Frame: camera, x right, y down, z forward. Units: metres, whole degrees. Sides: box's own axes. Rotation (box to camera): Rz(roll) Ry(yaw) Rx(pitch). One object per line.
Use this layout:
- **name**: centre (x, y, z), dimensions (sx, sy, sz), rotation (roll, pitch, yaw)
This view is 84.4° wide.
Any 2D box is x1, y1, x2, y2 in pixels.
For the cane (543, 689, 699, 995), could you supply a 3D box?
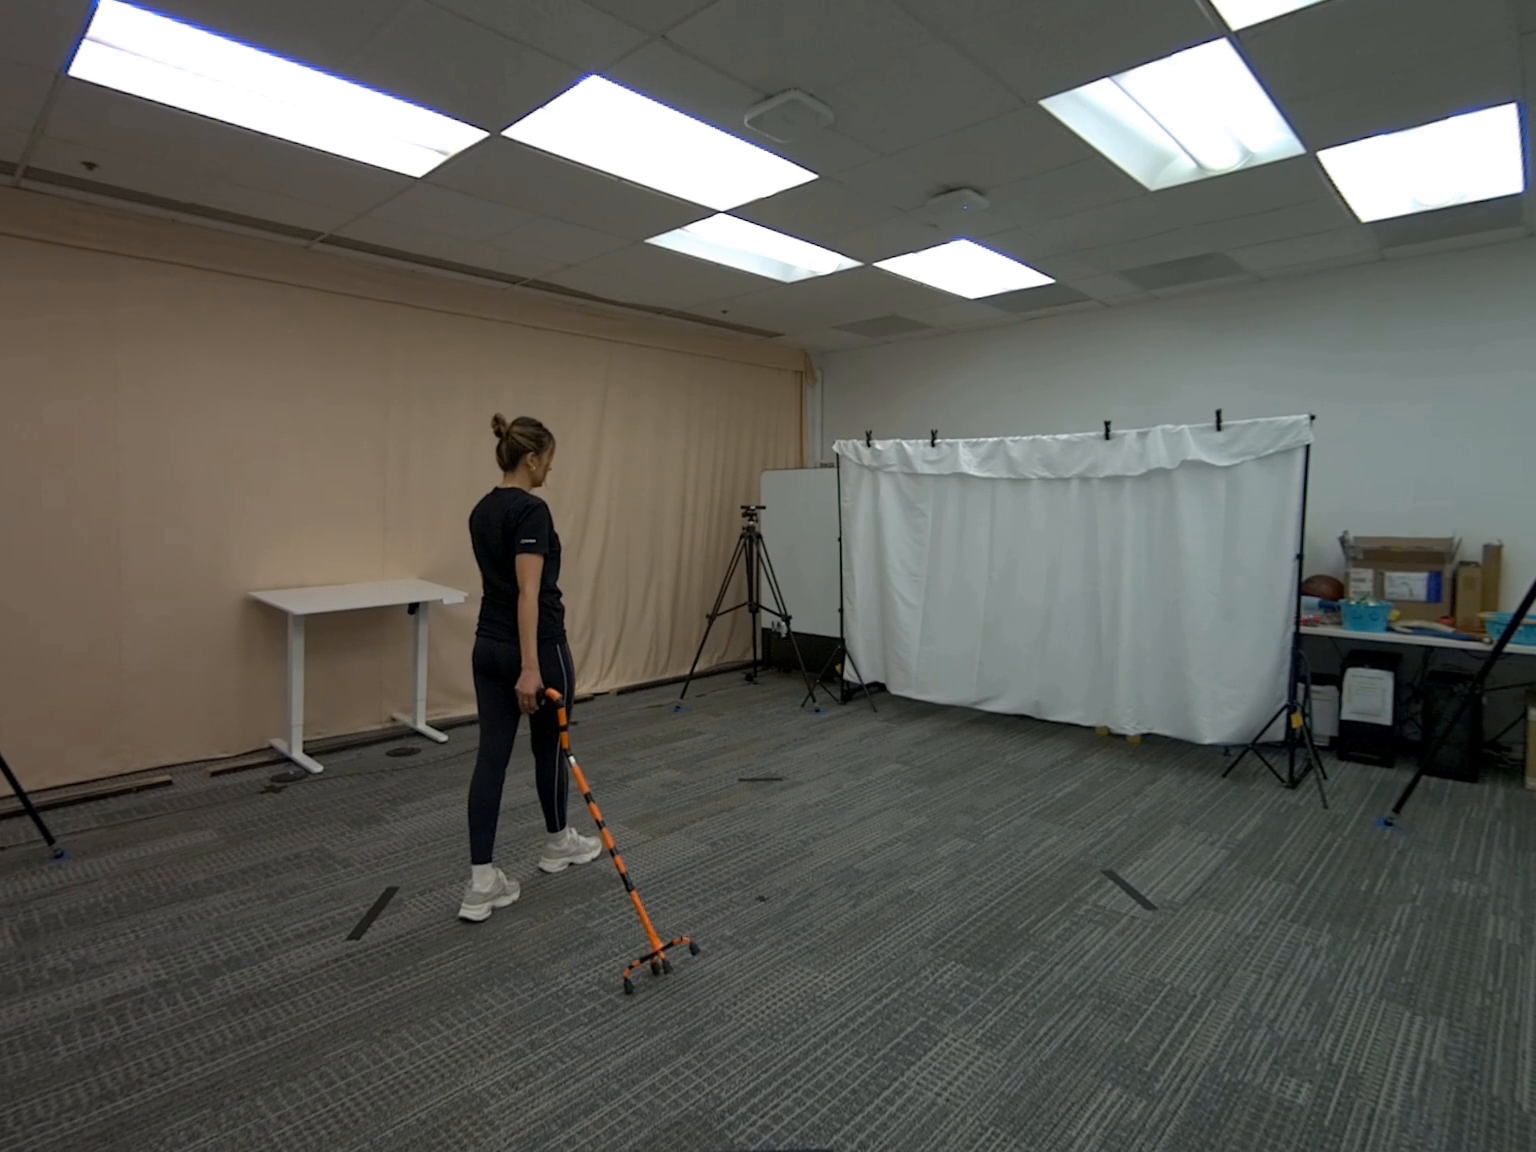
- **cane**: centre (-0.510, 0.754, 2.547), dimensions (0.209, 0.924, 0.147), rotation (-39, -20, 29)
